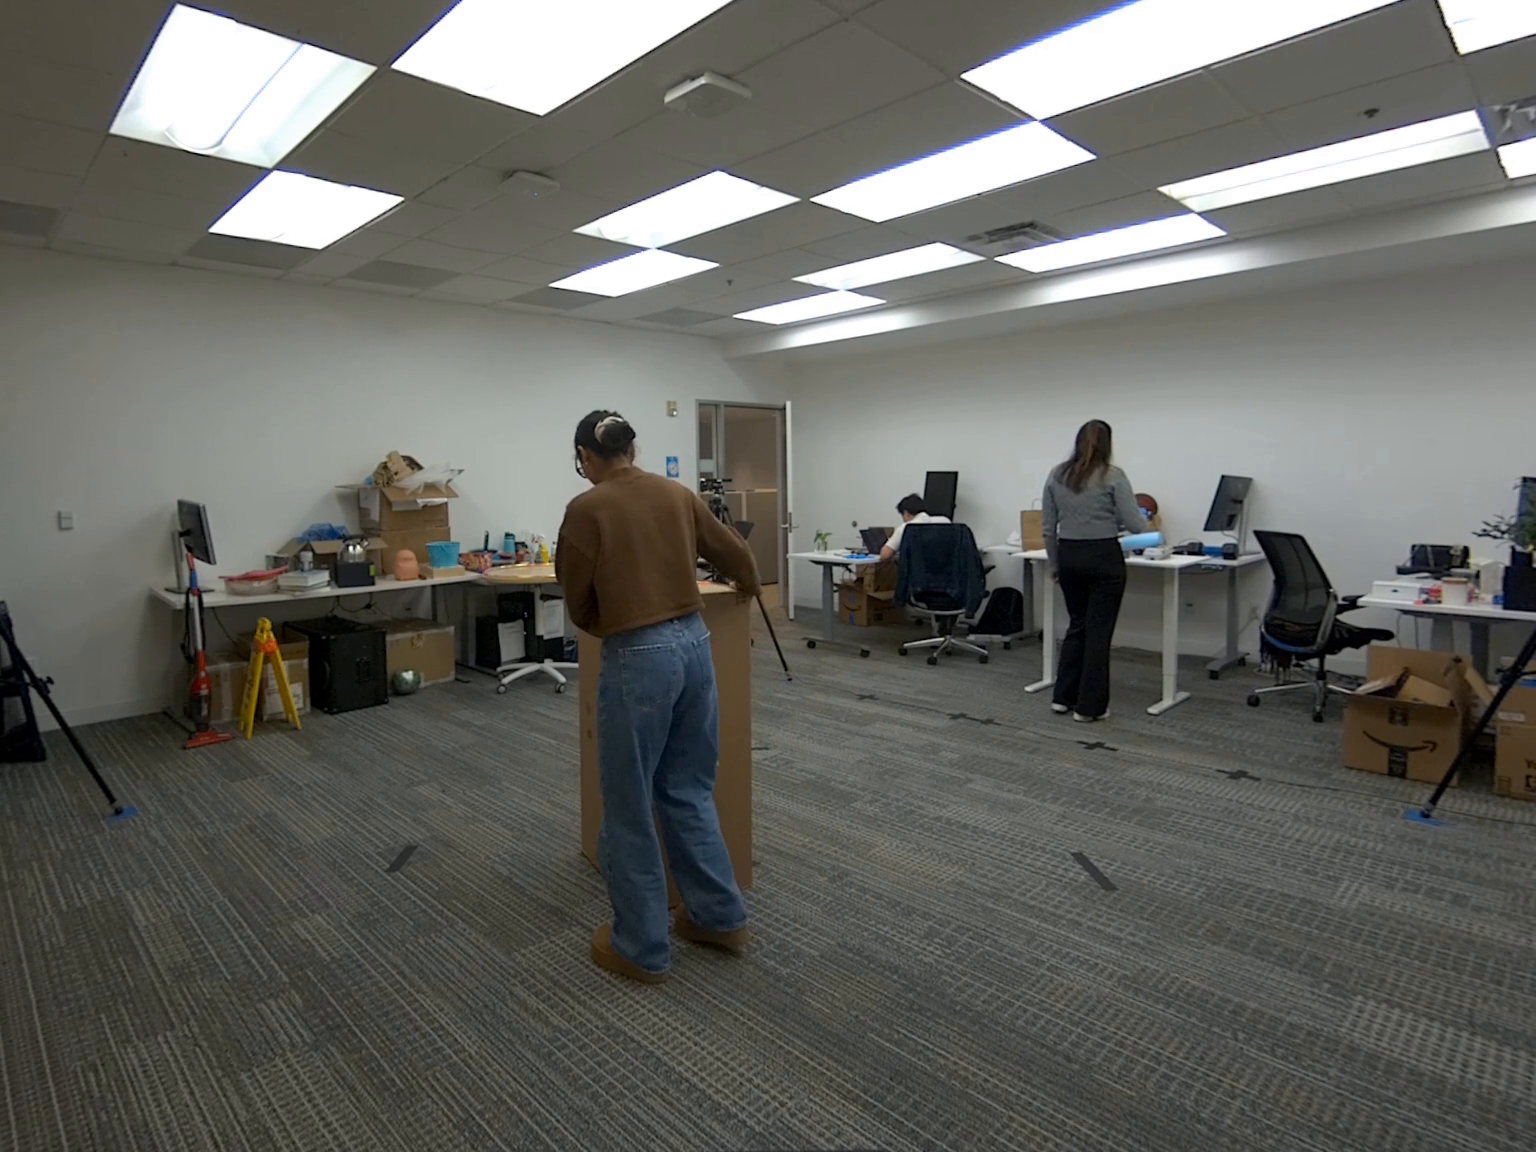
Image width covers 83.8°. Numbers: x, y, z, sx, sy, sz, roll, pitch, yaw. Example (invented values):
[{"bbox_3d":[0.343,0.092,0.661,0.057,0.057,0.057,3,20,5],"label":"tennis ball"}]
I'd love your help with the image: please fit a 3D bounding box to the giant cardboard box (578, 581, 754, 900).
[{"bbox_3d":[-0.377,0.546,3.060,0.416,1.023,0.593,-2,4,-30],"label":"giant cardboard box"}]
